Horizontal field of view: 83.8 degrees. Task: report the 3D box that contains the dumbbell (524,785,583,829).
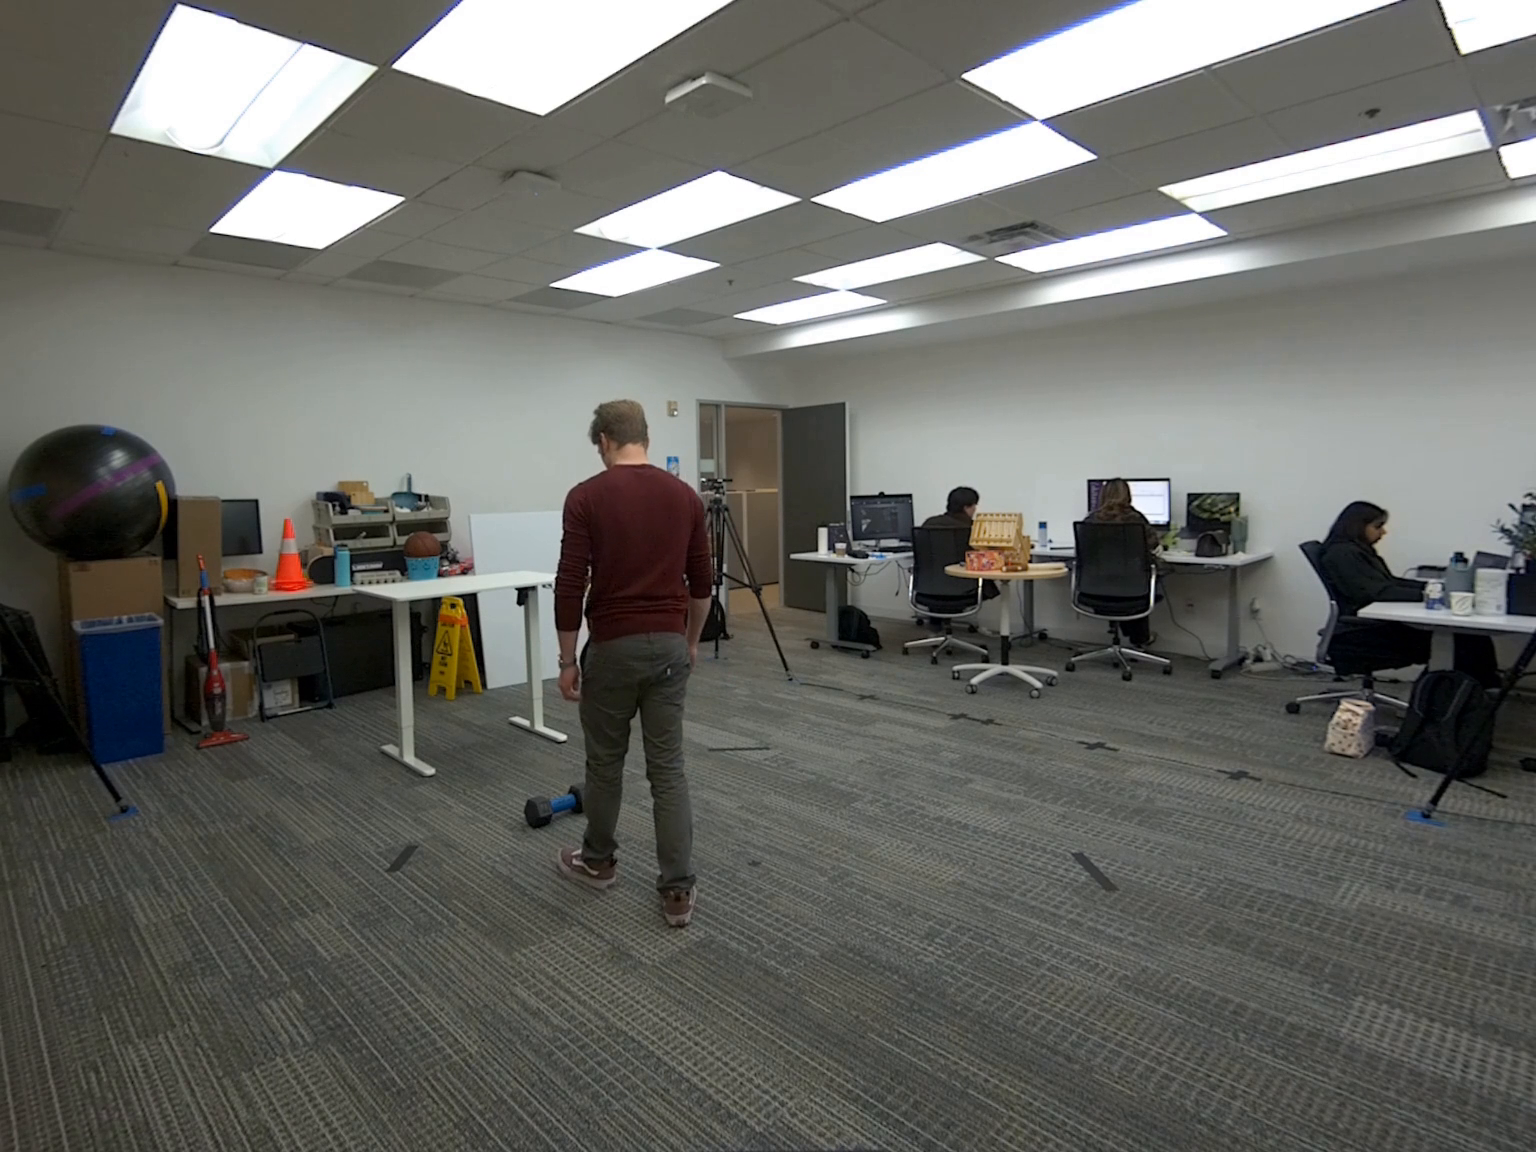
[{"bbox_3d":[-0.870,0.954,3.576,0.286,0.126,0.109,-6,-25,-47],"label":"dumbbell"}]
